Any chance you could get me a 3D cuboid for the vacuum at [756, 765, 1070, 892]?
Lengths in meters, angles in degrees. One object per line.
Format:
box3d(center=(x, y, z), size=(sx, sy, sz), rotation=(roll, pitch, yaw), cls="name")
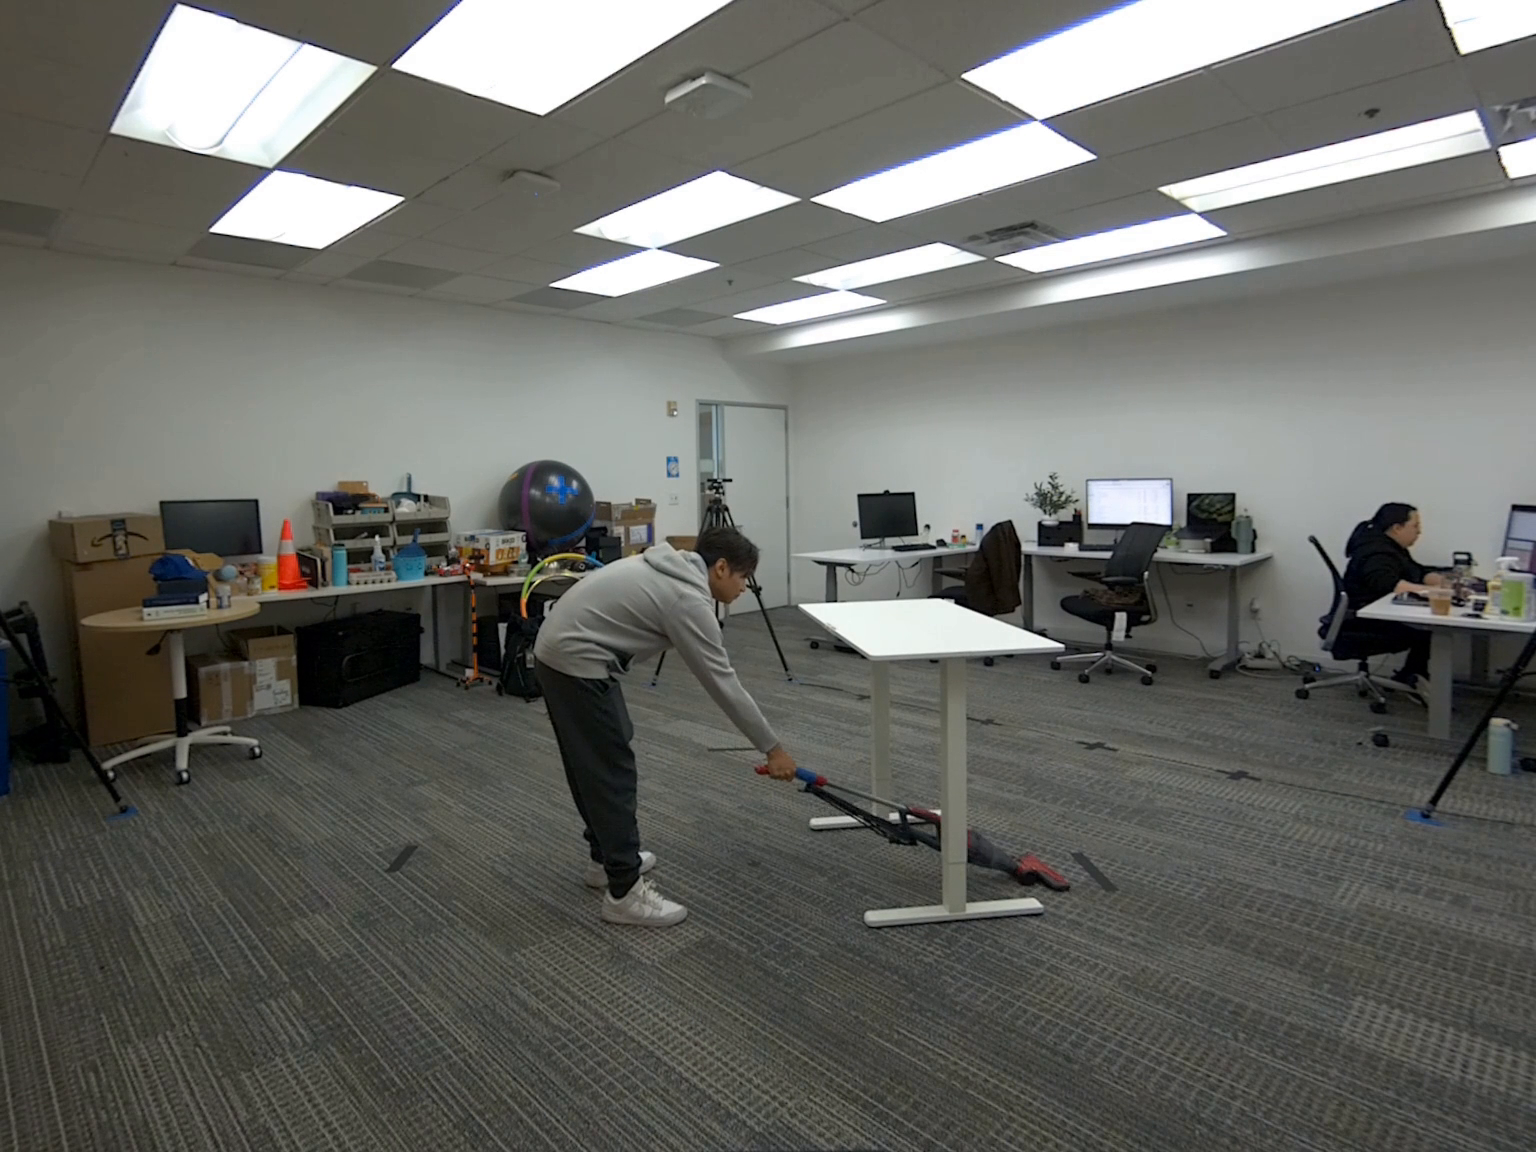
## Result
box3d(center=(0.468, 0.840, 2.889), size=(1.037, 0.144, 0.255), rotation=(22, -5, -9), cls="vacuum")
